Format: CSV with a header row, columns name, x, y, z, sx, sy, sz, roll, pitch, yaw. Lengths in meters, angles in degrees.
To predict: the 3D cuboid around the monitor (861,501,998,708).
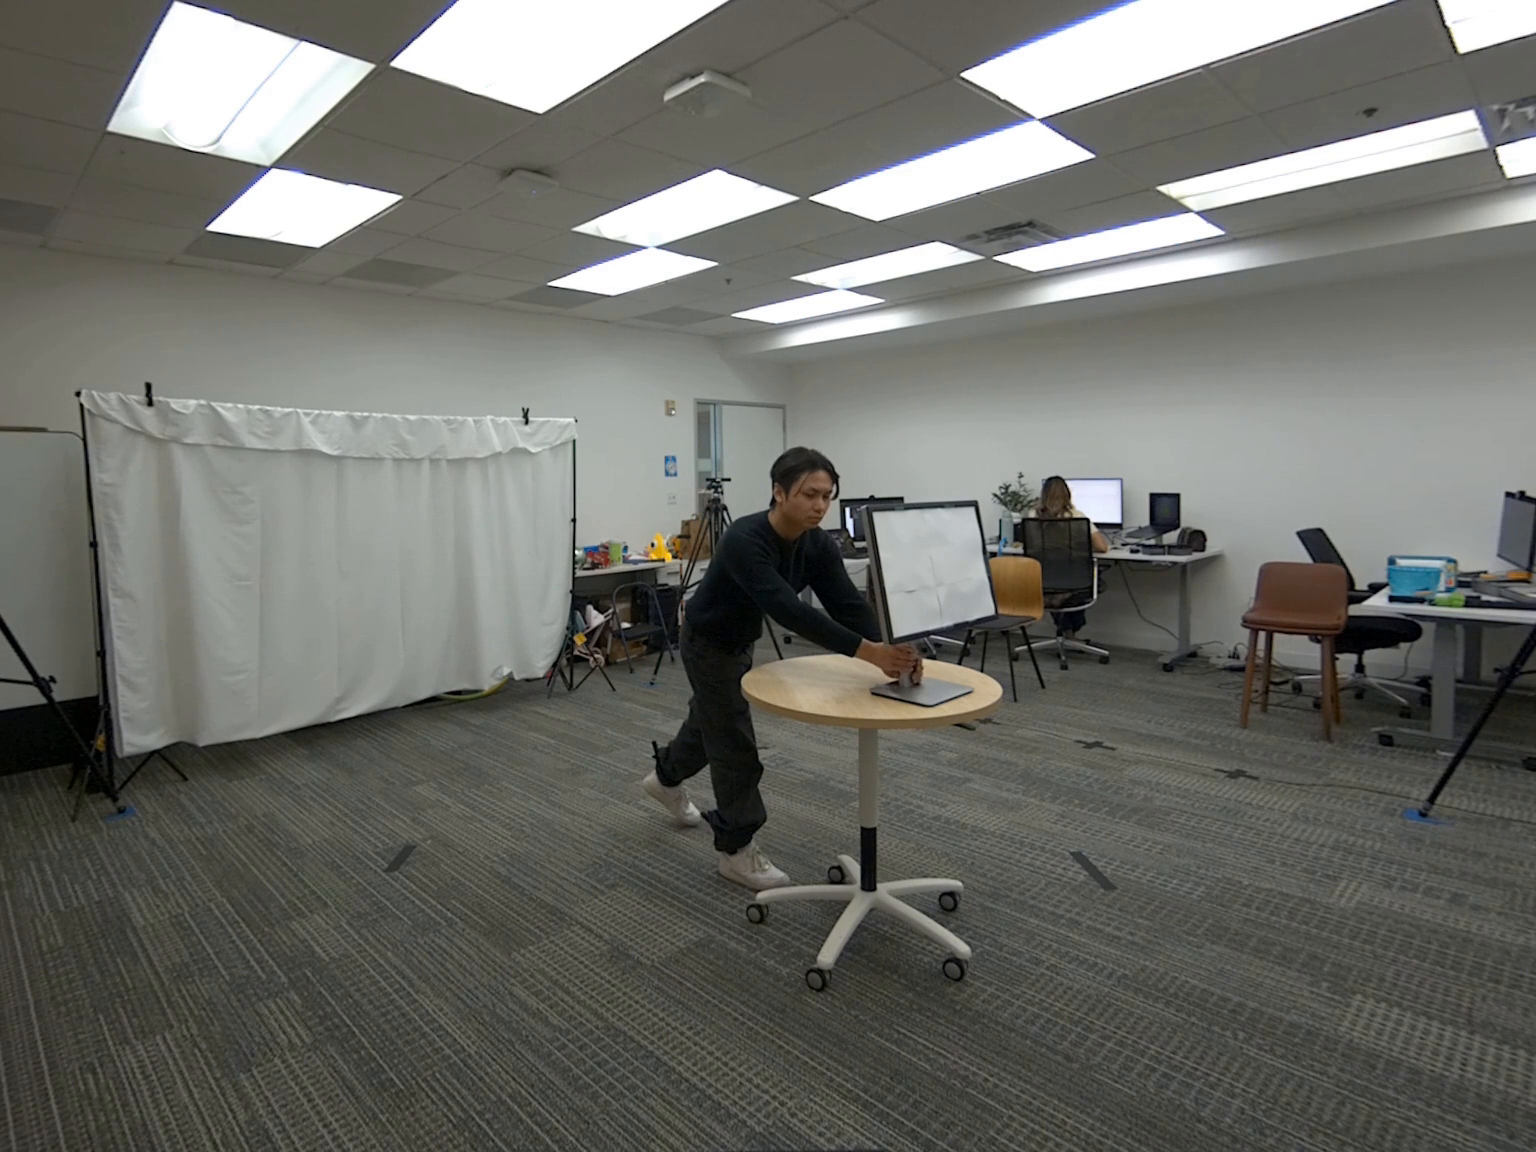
name,x,y,z,sx,sy,sz,roll,pitch,yaw
monitor,0.446,0.066,2.411,0.193,0.520,0.525,4,7,42
